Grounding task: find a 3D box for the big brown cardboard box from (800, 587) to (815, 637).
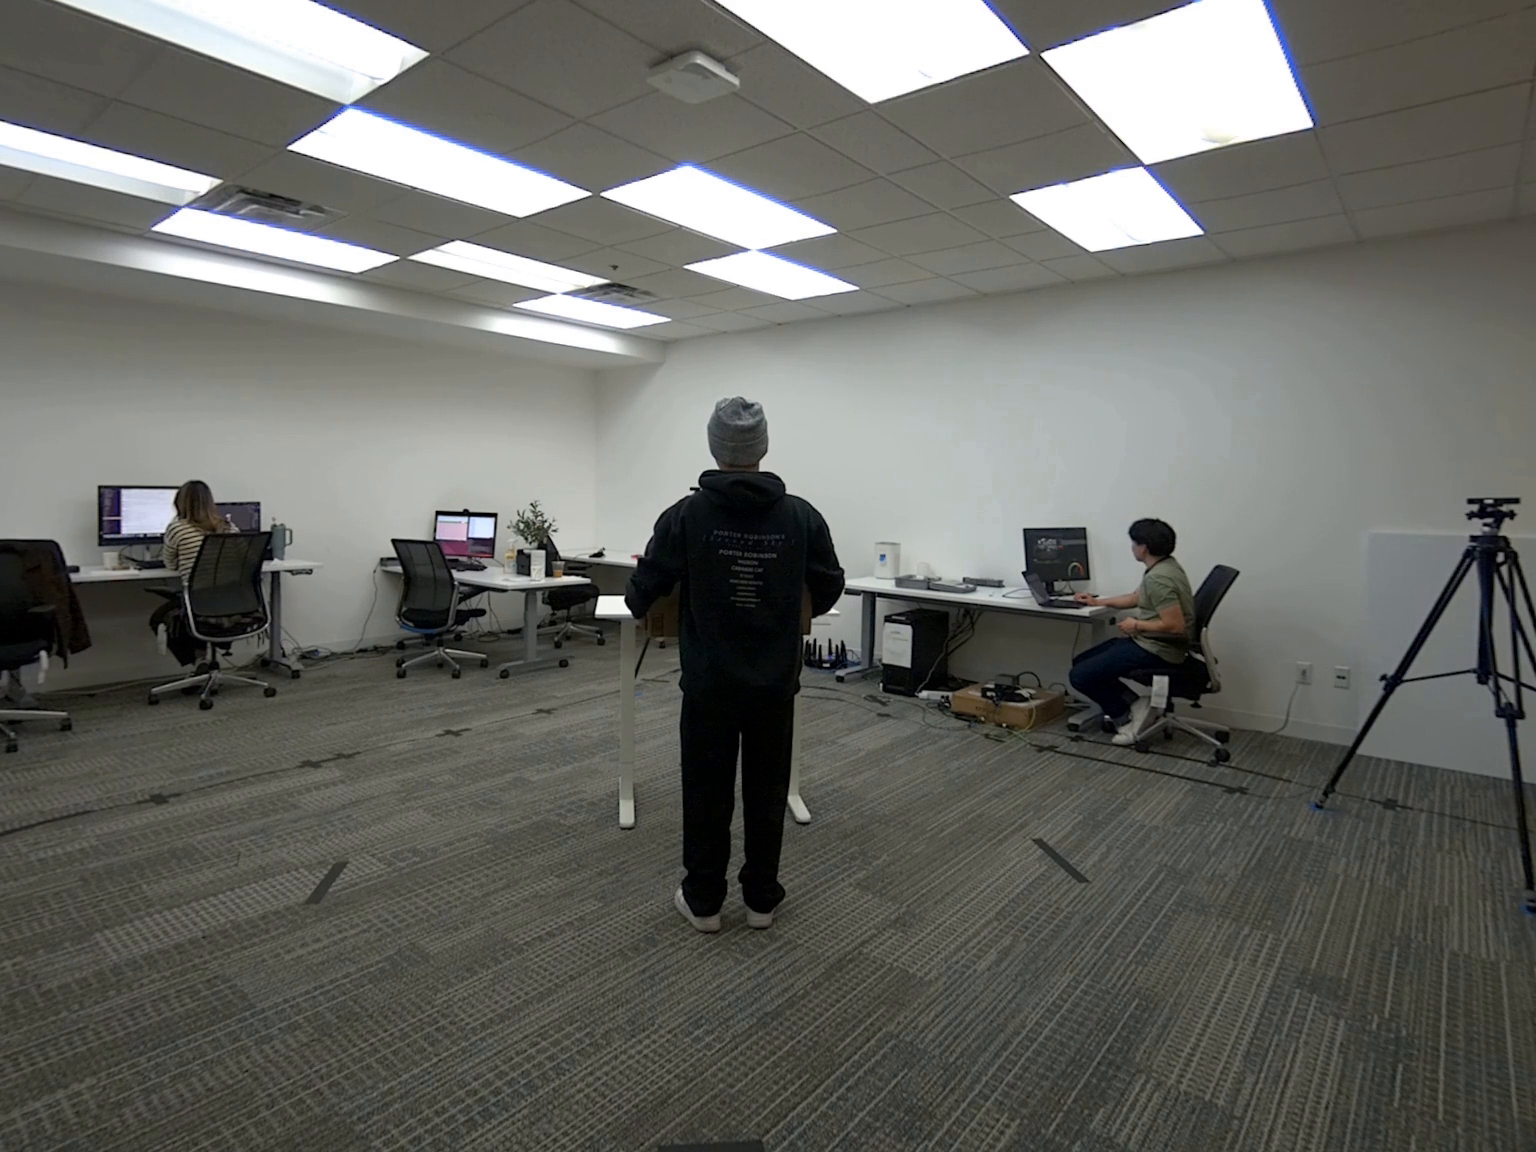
[{"bbox_3d":[-0.162,0.062,3.091,0.584,0.231,0.425,-2,10,-9],"label":"big brown cardboard box"}]
